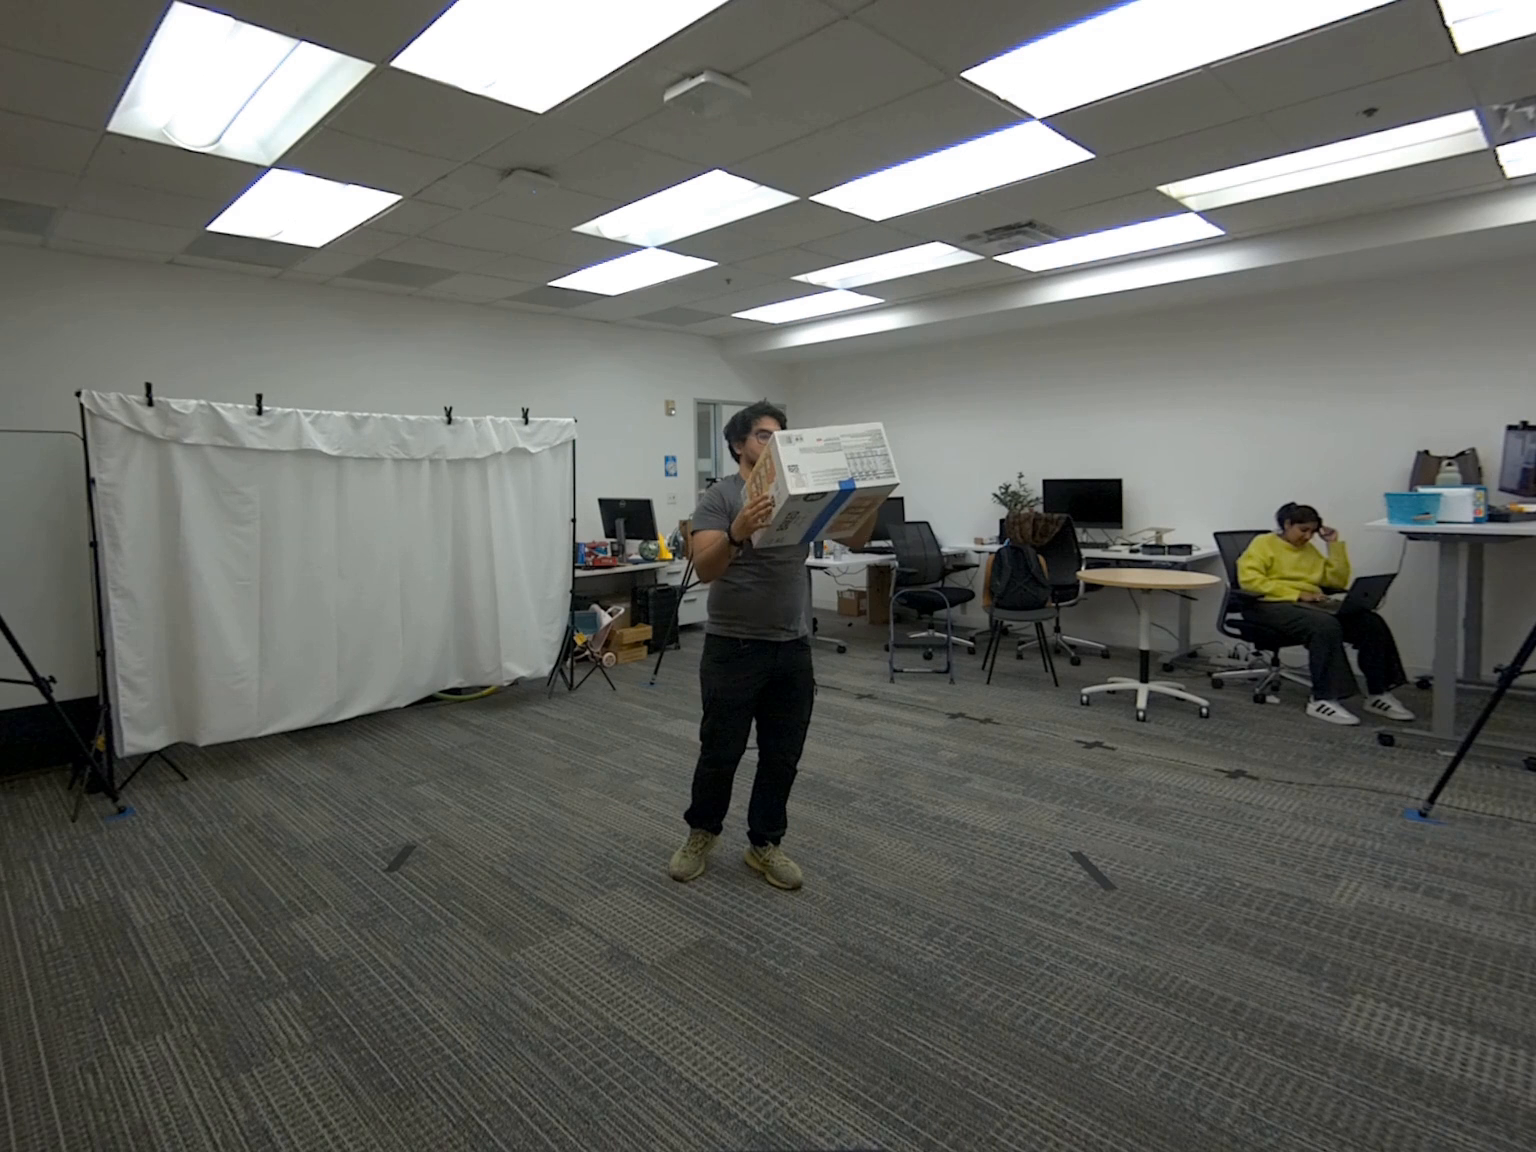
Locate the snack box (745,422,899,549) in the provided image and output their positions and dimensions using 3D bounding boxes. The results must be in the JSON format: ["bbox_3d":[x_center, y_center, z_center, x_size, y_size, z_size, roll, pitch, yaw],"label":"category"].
[{"bbox_3d":[0.141,-0.268,2.582,0.336,0.210,0.403,-6,-18,-16],"label":"snack box"}]
